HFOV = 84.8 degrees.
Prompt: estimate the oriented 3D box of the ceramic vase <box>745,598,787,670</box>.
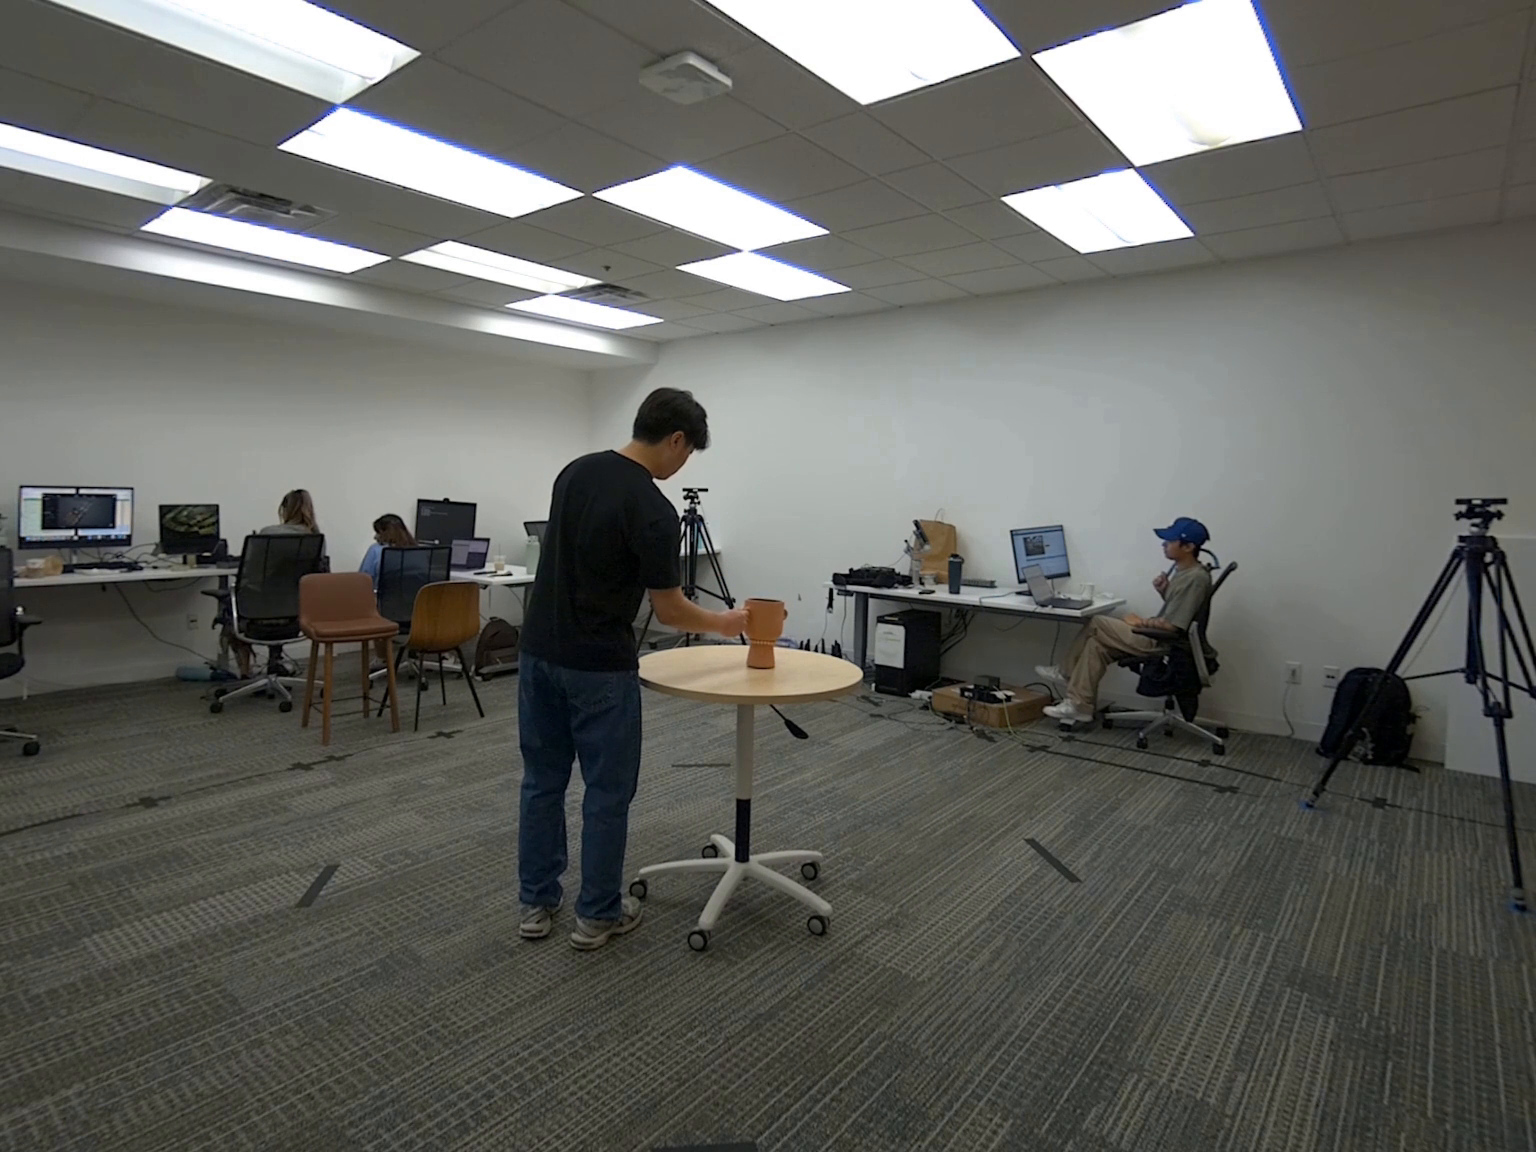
[{"bbox_3d":[-0.031,0.189,2.855,0.160,0.219,0.134,4,1,6],"label":"ceramic vase"}]
